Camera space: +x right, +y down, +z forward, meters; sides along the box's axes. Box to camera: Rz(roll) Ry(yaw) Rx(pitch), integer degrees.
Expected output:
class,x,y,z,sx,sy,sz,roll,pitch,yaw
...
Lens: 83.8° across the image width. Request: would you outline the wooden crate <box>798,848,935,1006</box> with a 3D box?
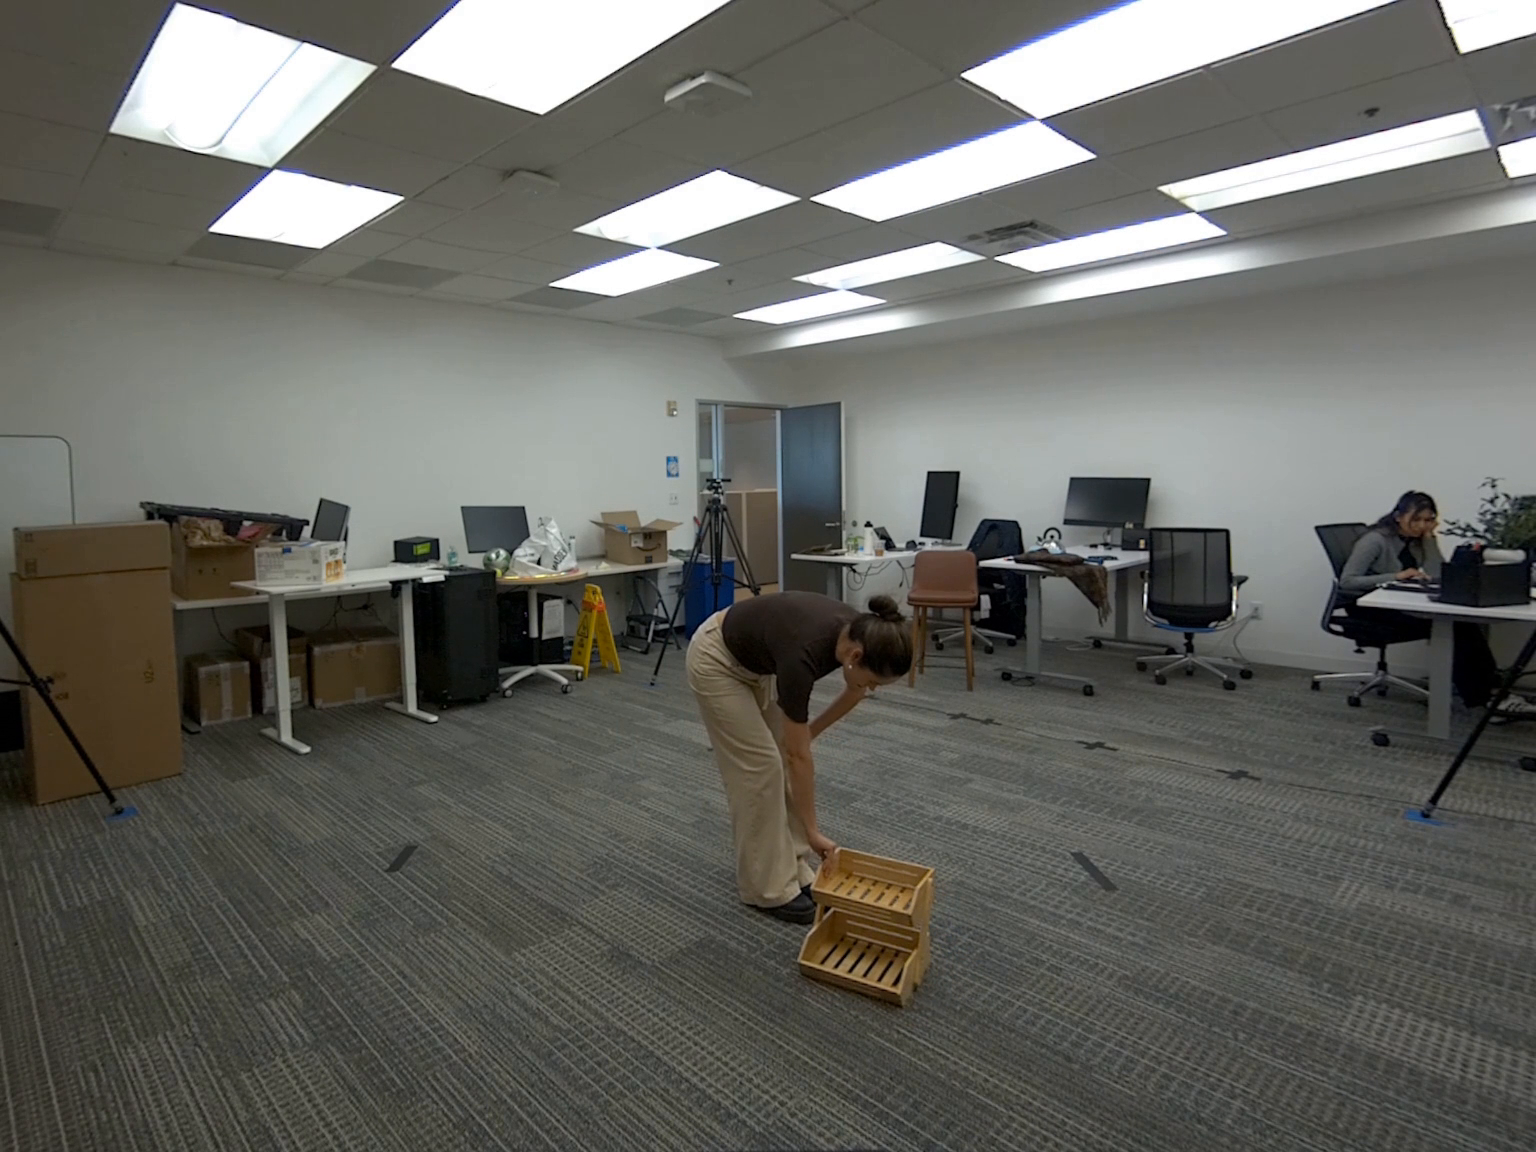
class,x,y,z,sx,sy,sz,roll,pitch,yaw
wooden crate,0.288,0.982,2.430,0.333,0.272,0.295,2,5,29
